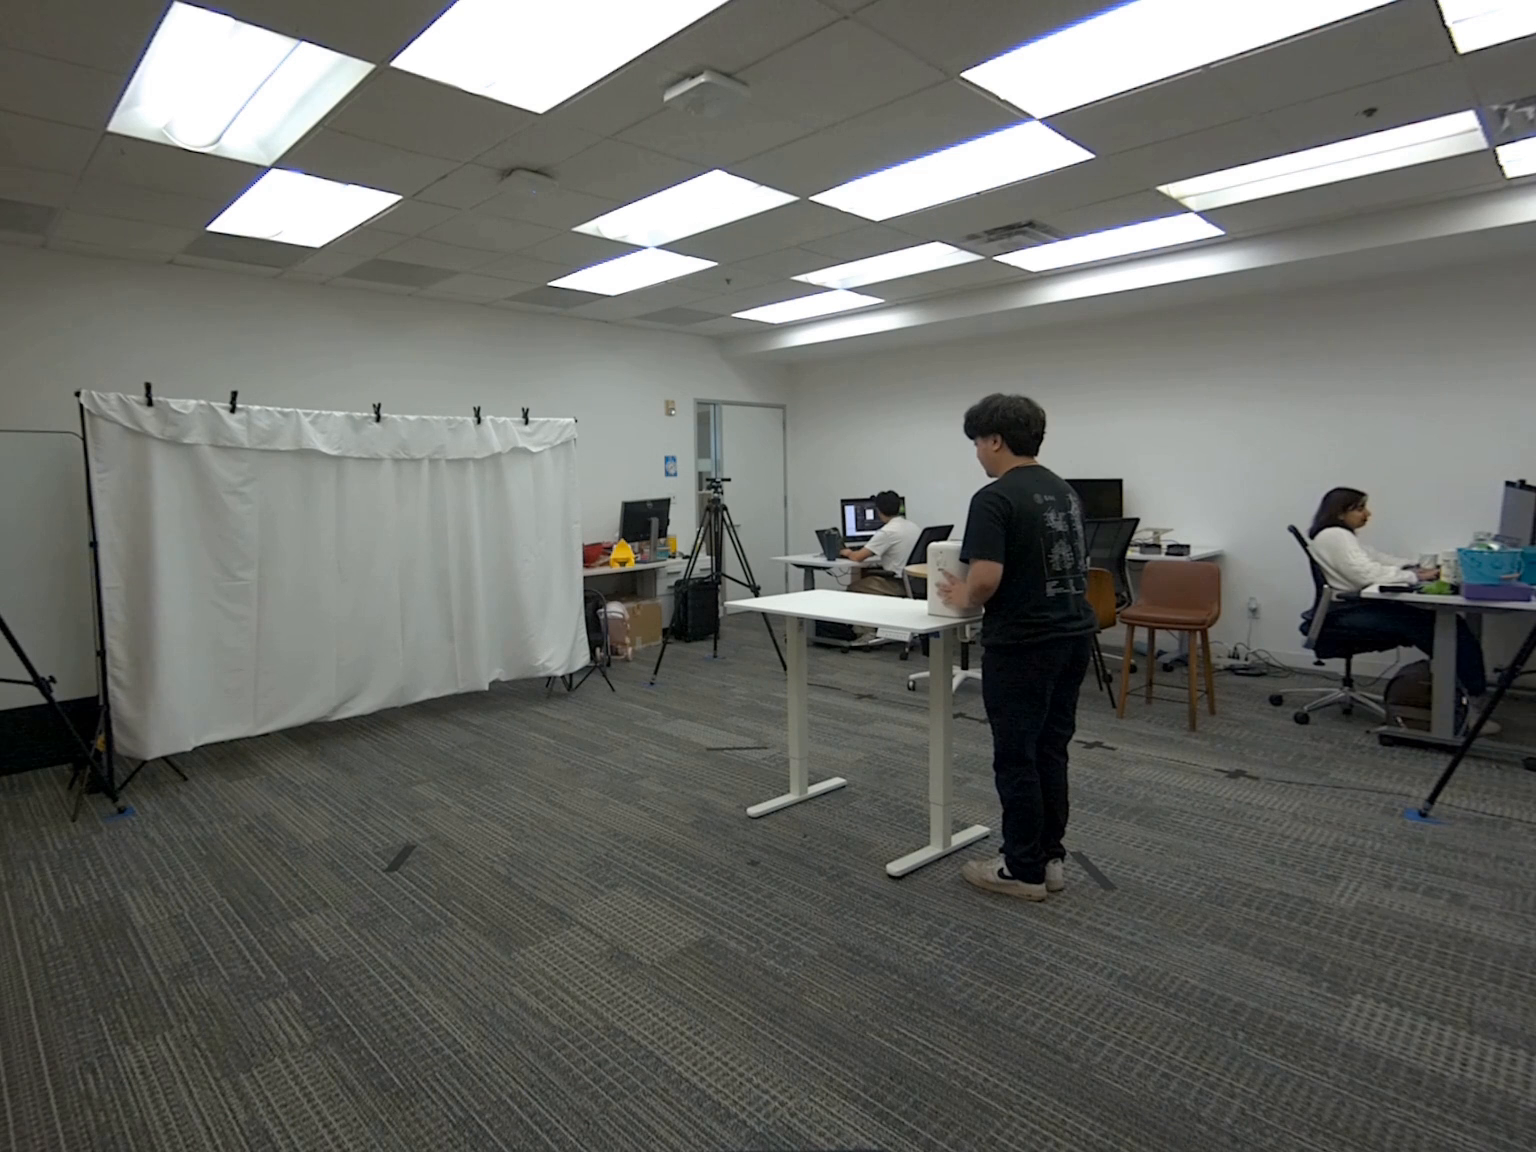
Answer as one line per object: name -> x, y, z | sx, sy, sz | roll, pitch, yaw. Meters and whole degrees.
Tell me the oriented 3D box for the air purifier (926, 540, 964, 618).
air purifier -> 0.690, 0.007, 3.124 | 0.167, 0.265, 0.176 | -3, 2, -44
